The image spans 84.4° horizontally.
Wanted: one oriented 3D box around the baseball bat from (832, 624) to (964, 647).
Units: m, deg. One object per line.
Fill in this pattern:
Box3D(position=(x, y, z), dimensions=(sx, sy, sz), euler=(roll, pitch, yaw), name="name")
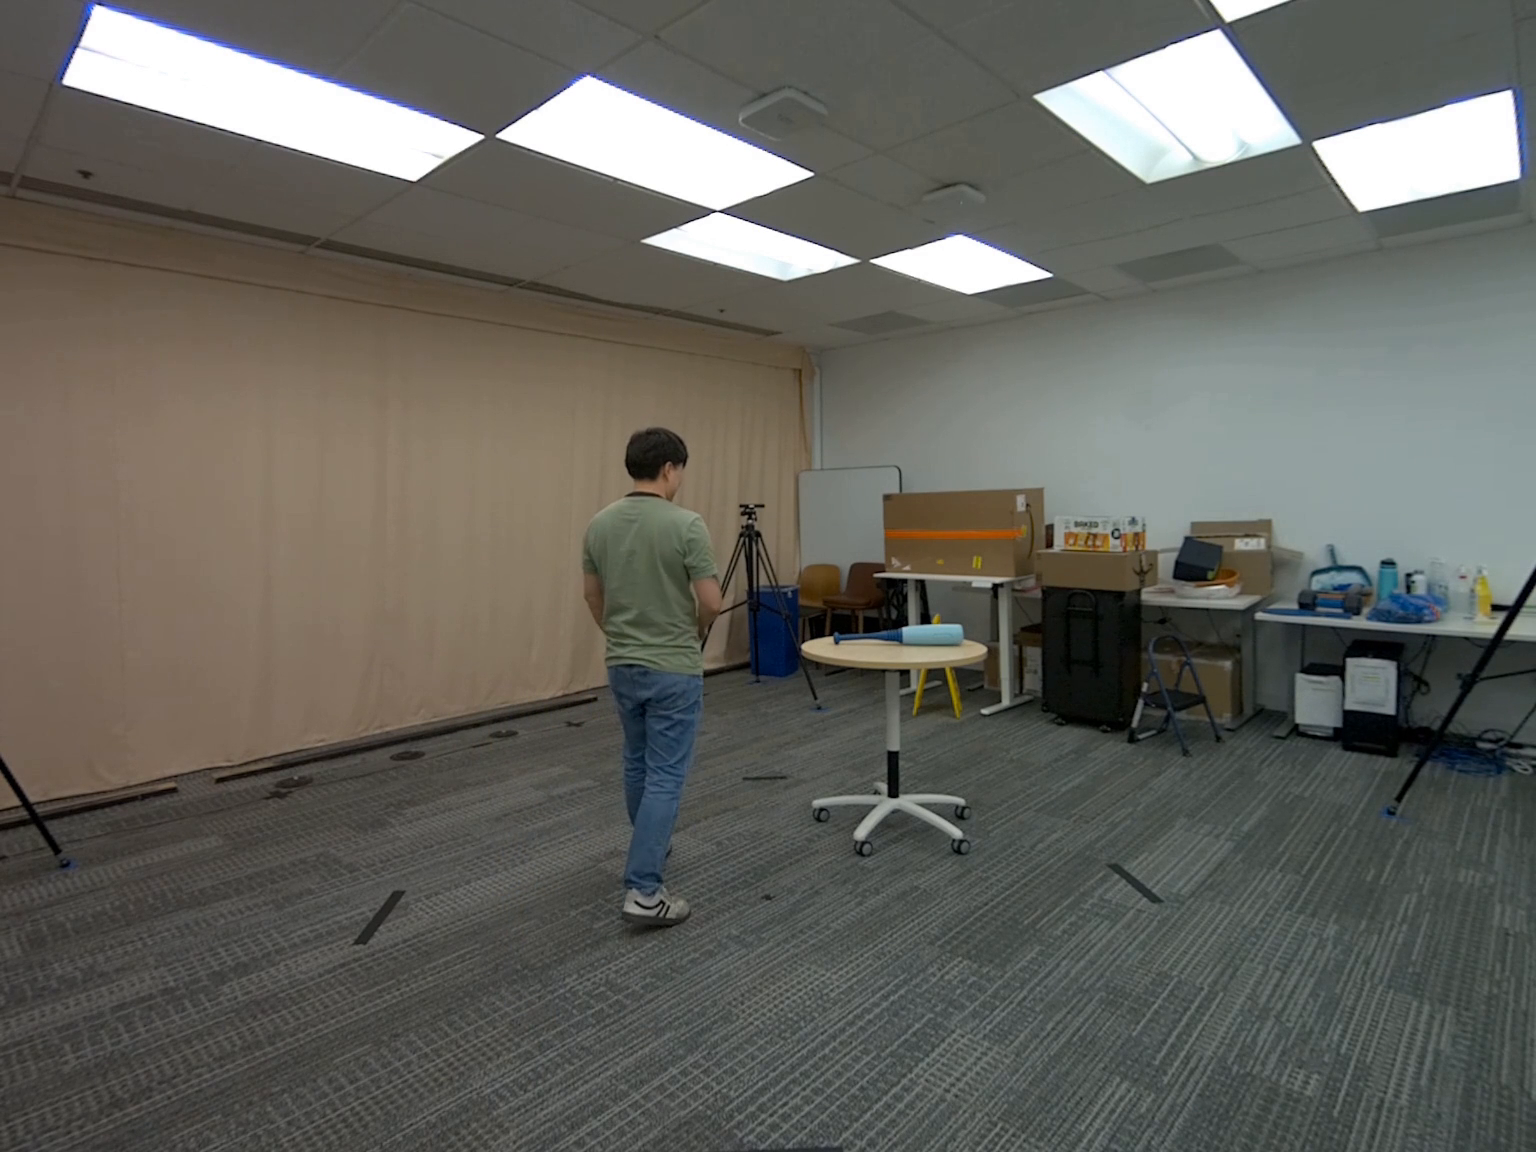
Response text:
Box3D(position=(0.557, 0.261, 3.596), dimensions=(0.549, 0.089, 0.088), euler=(-3, 4, 10), name="baseball bat")
